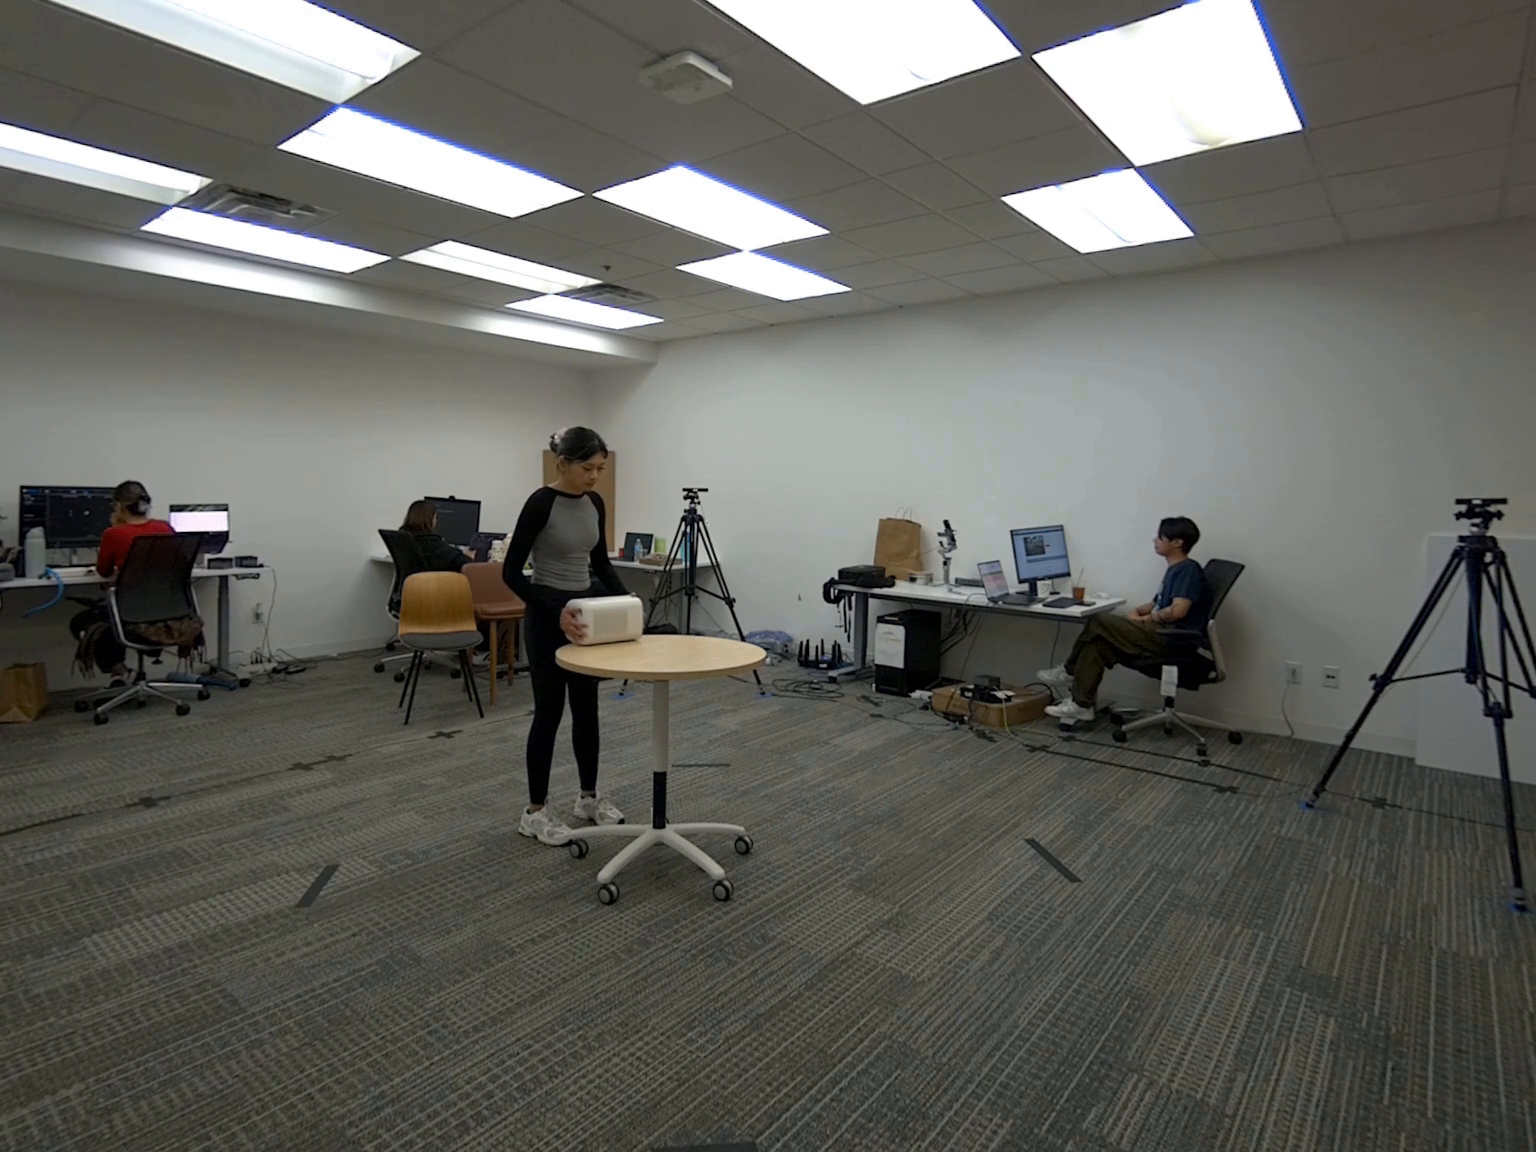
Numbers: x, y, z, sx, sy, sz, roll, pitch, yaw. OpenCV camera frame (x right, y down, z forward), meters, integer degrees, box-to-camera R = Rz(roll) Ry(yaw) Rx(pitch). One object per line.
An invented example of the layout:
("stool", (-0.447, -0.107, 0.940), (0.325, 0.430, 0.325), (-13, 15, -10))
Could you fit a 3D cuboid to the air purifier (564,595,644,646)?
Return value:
("air purifier", (-0.651, 0.168, 3.299), (0.257, 0.171, 0.177), (-2, 5, -41))
